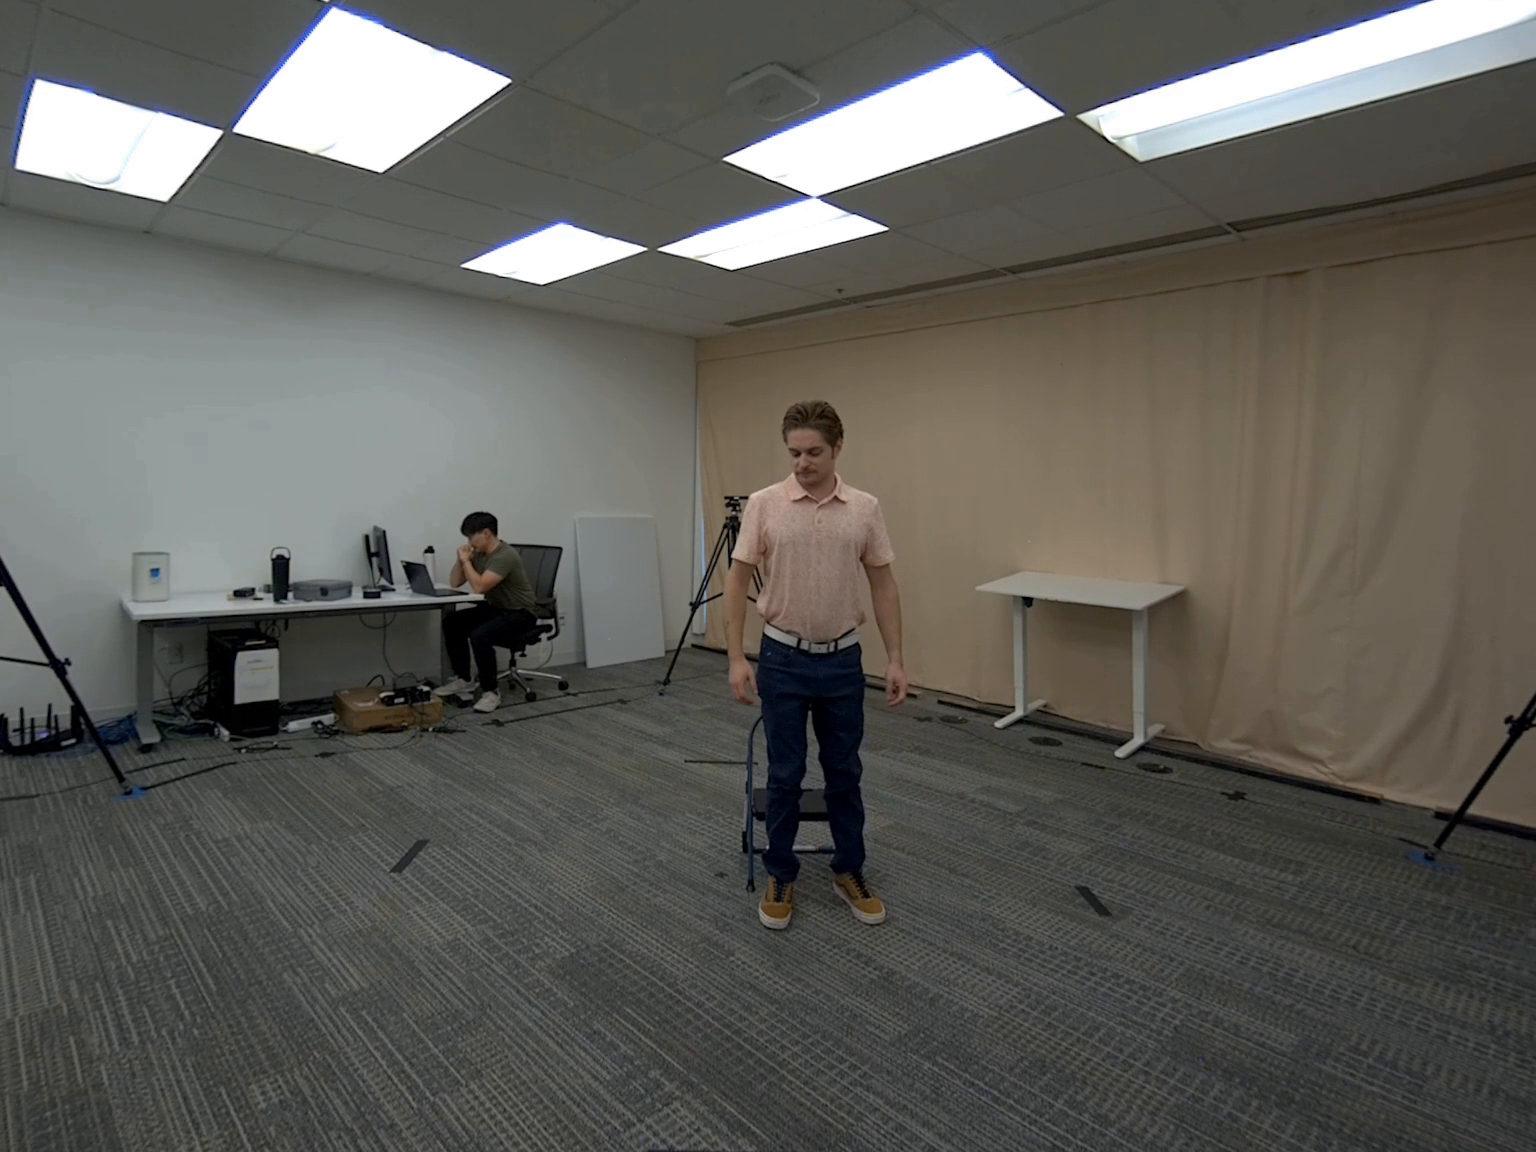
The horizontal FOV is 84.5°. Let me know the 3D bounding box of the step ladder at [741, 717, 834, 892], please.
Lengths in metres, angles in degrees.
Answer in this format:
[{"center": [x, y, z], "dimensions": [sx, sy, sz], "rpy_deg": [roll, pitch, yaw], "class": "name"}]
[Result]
[{"center": [0.124, 0.810, 3.149], "dimensions": [0.429, 0.604, 0.352], "rpy_deg": [2, 4, -6], "class": "step ladder"}]
